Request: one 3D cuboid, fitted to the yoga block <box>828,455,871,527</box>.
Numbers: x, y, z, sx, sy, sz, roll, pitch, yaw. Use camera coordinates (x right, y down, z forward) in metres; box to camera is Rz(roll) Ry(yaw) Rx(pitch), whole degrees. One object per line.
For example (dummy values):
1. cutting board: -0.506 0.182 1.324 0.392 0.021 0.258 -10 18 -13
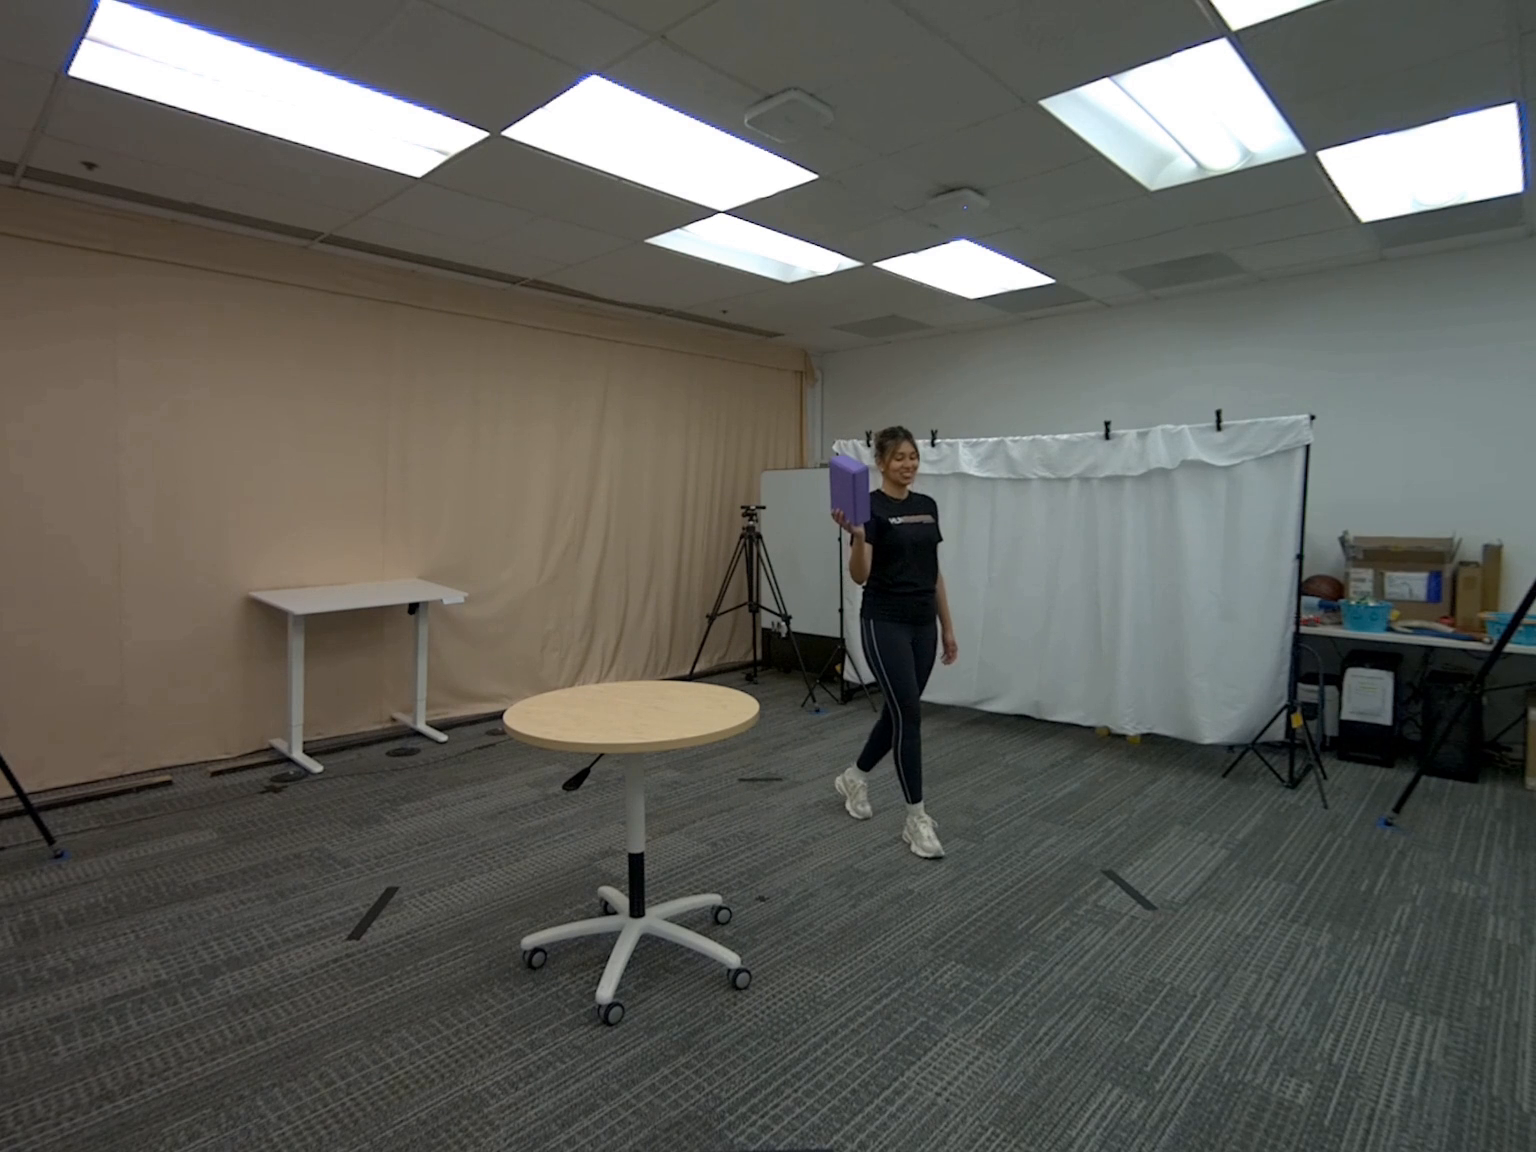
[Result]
1. yoga block: 0.296 -0.312 3.055 0.075 0.224 0.154 -23 38 -24
